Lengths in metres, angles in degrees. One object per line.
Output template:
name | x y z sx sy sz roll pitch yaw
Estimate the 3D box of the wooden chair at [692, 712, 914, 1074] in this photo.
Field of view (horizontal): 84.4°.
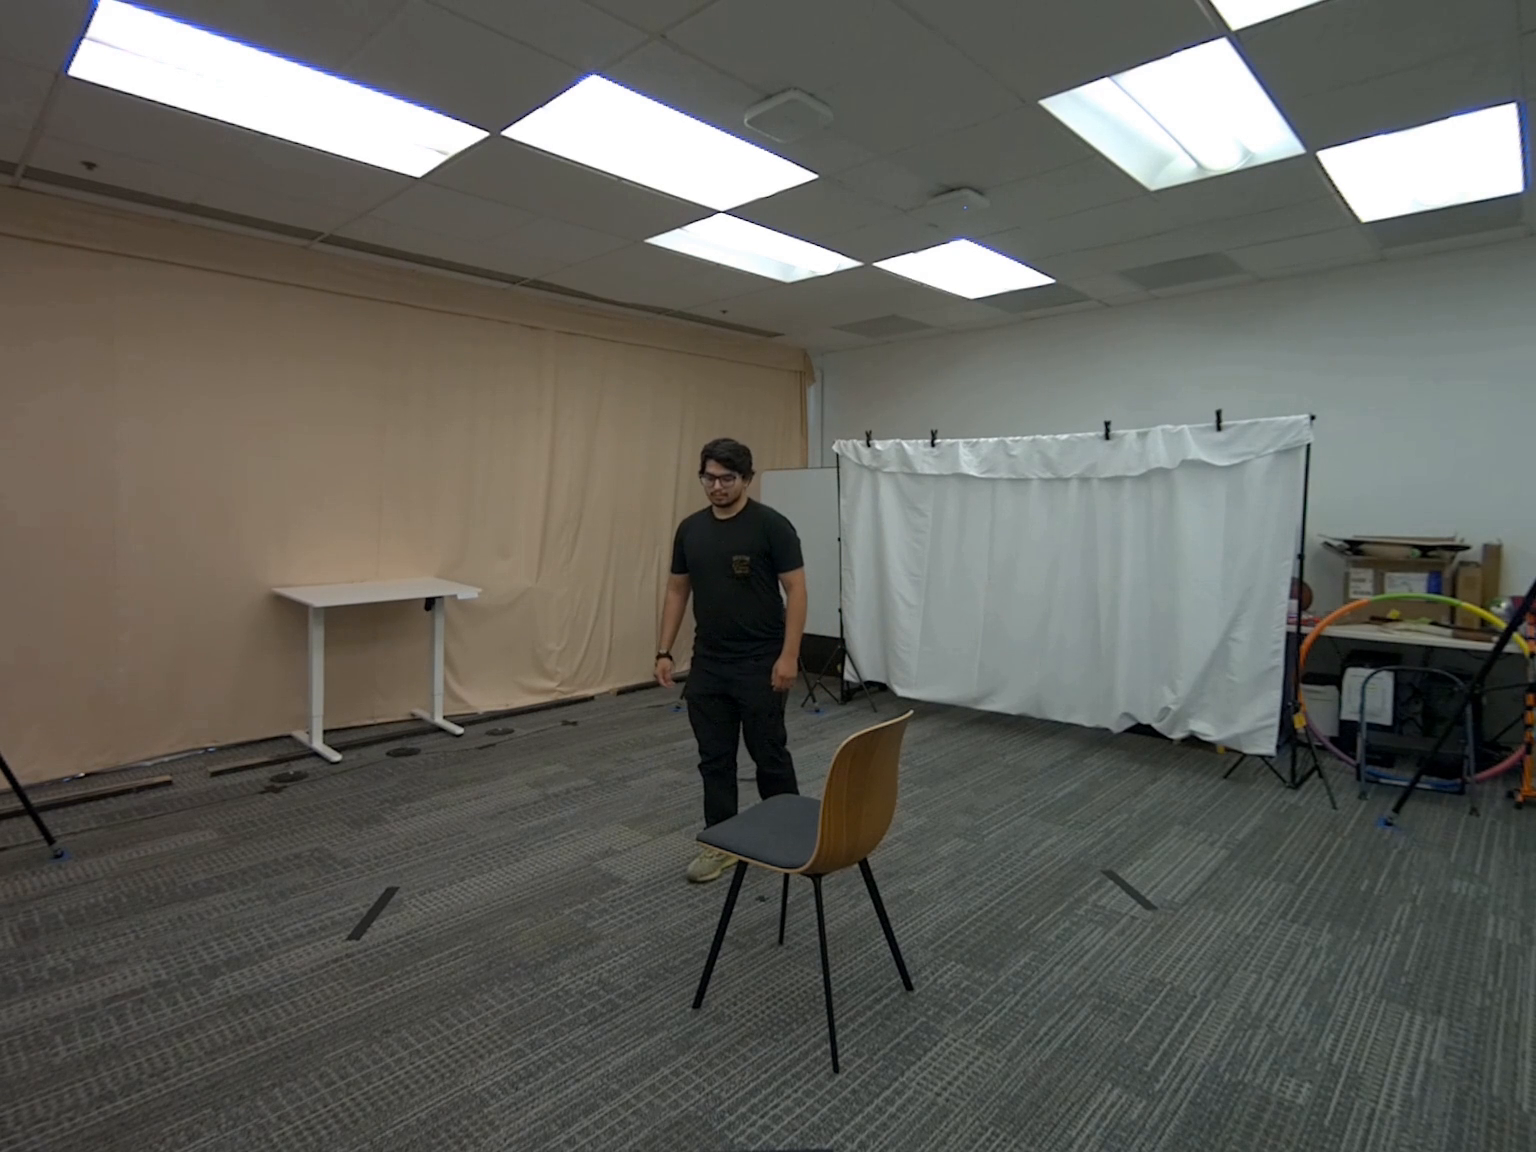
wooden chair | 0.101 0.763 2.368 0.540 0.874 0.464 8 8 36
